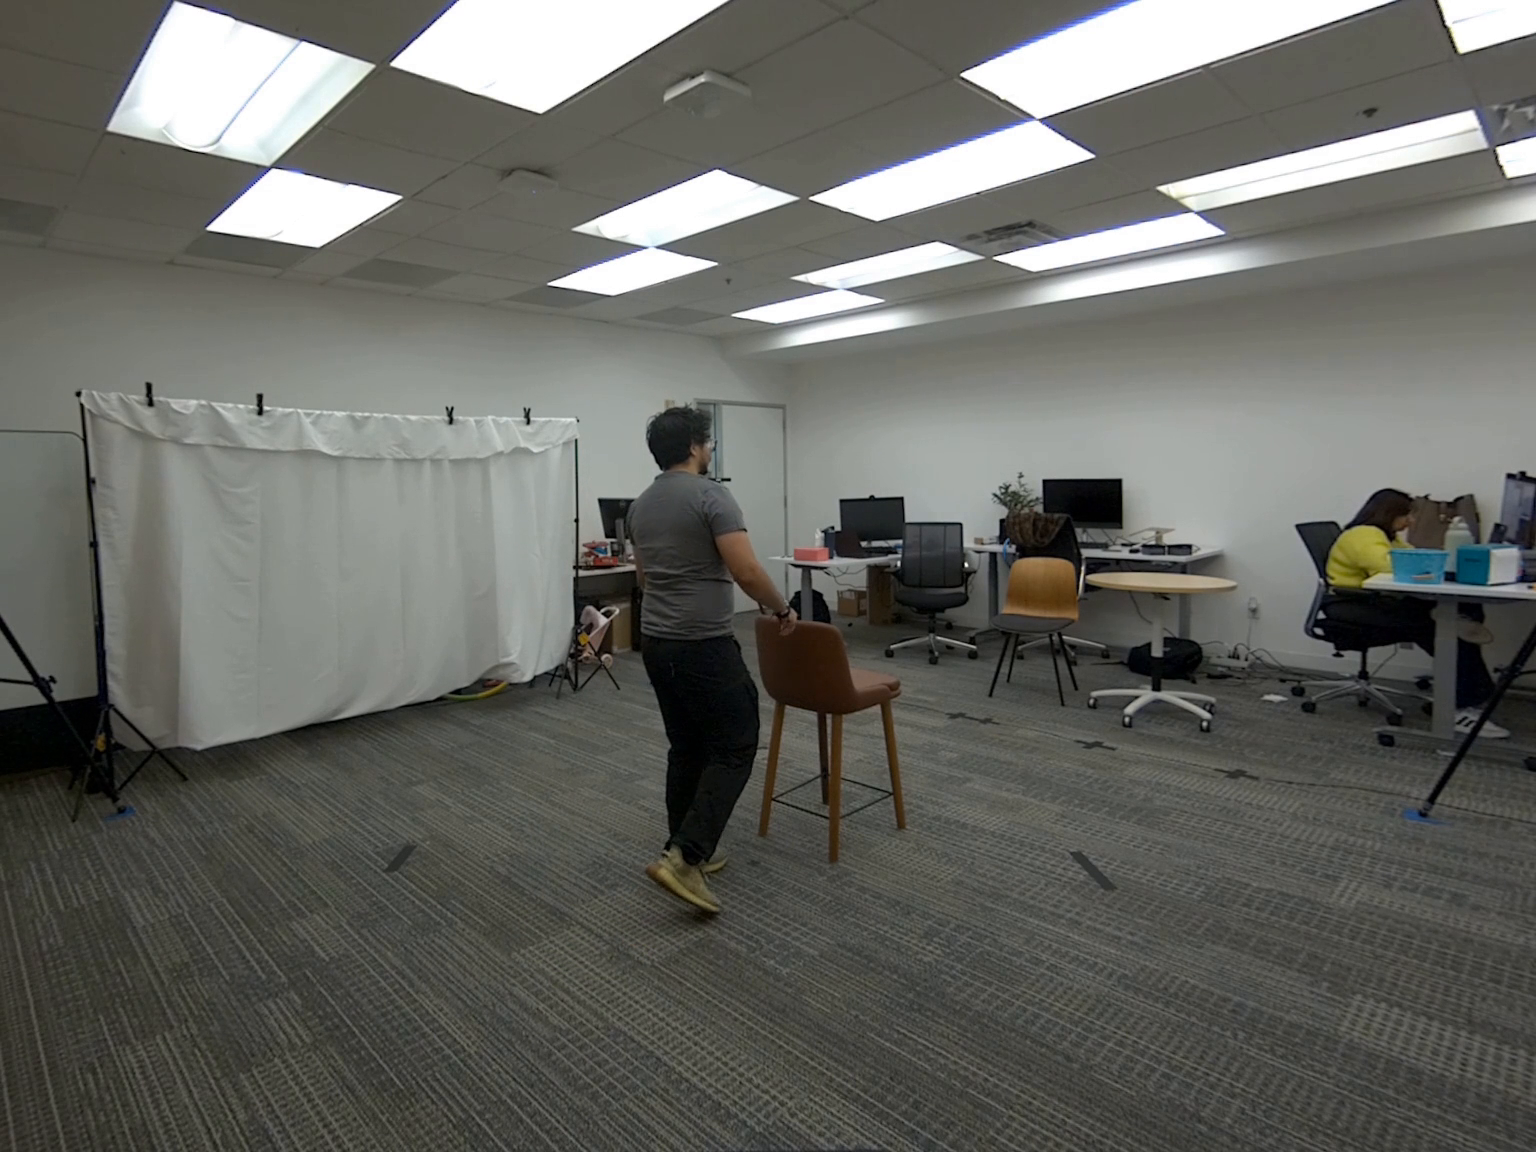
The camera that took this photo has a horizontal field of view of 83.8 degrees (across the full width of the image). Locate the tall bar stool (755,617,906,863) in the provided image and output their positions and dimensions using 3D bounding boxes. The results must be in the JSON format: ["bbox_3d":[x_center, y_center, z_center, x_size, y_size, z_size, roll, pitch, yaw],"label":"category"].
[{"bbox_3d":[0.239,0.574,3.346,0.470,0.885,0.456,3,8,44],"label":"tall bar stool"}]
